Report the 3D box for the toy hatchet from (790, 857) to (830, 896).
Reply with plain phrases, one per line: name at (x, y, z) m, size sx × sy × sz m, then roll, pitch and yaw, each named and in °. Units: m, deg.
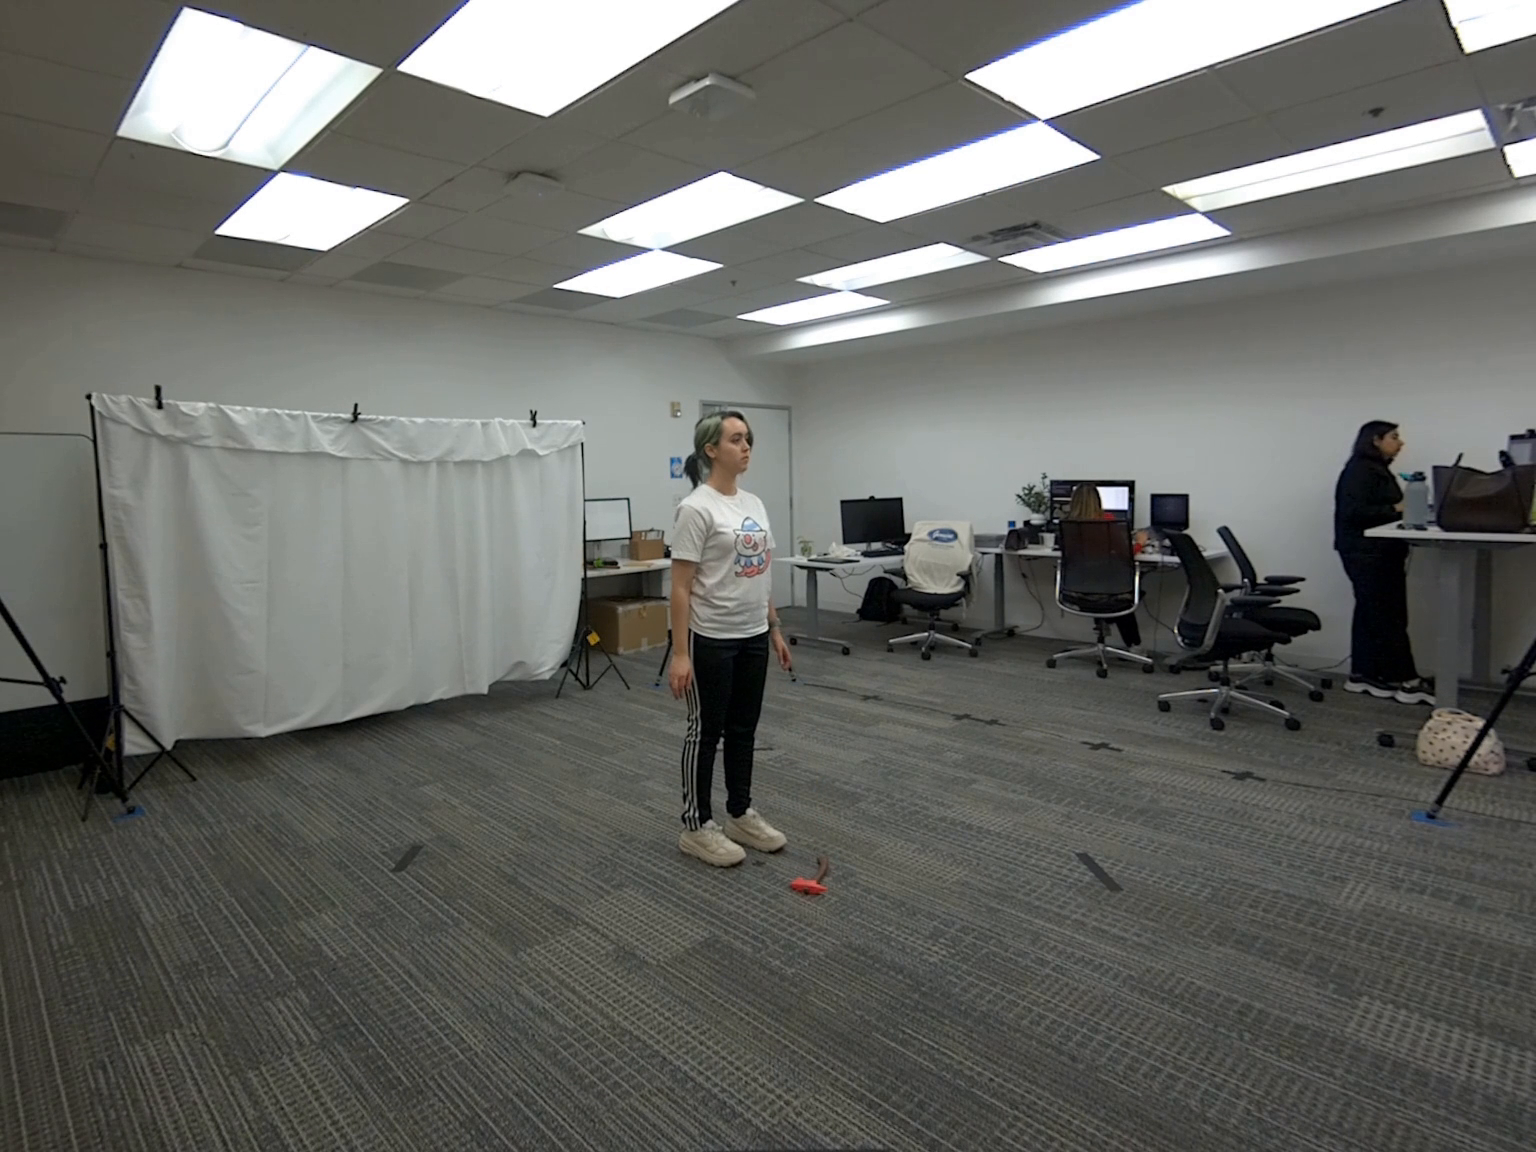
toy hatchet at (0.147, 1.050, 2.997) m, size 0.132 × 0.029 × 0.268 m, roll -5°, pitch 3°, yaw 6°
